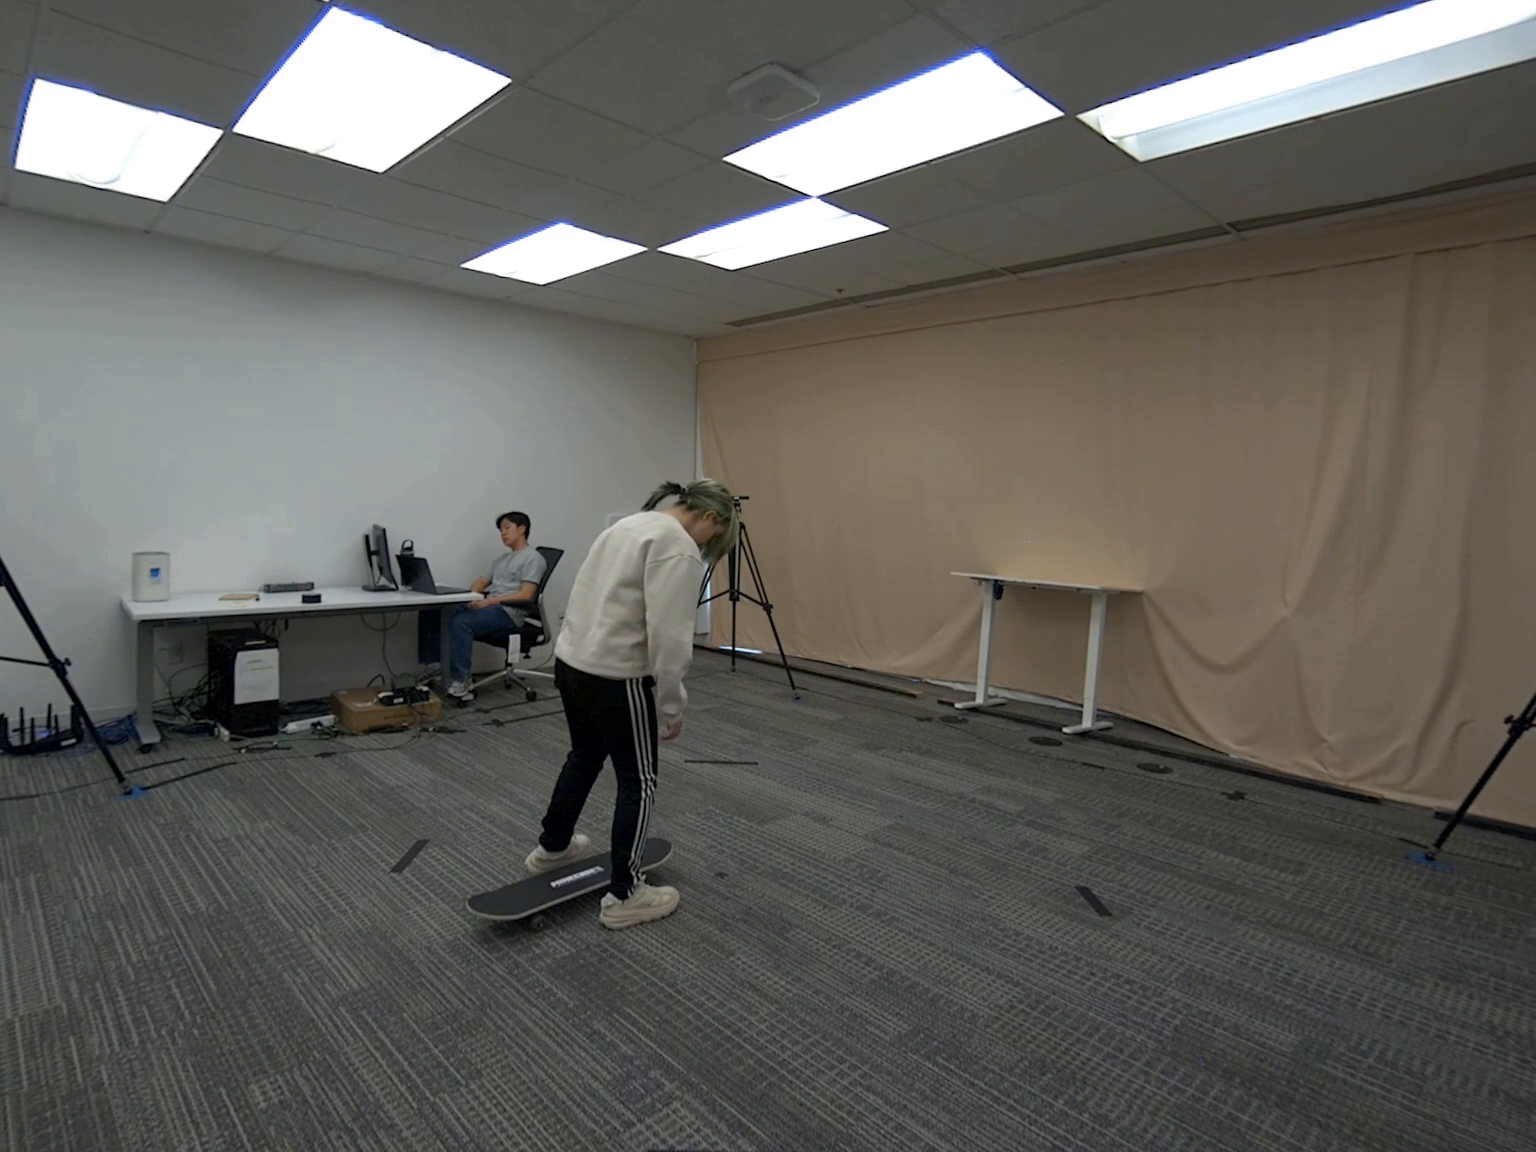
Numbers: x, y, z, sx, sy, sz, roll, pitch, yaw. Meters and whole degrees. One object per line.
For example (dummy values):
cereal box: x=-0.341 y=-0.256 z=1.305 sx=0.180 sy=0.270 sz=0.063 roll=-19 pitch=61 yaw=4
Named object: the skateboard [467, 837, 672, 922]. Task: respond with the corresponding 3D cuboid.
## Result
skateboard: x=-0.651 y=1.053 z=2.870 sx=0.198 sy=0.110 sz=0.768 roll=8 pitch=8 yaw=43
